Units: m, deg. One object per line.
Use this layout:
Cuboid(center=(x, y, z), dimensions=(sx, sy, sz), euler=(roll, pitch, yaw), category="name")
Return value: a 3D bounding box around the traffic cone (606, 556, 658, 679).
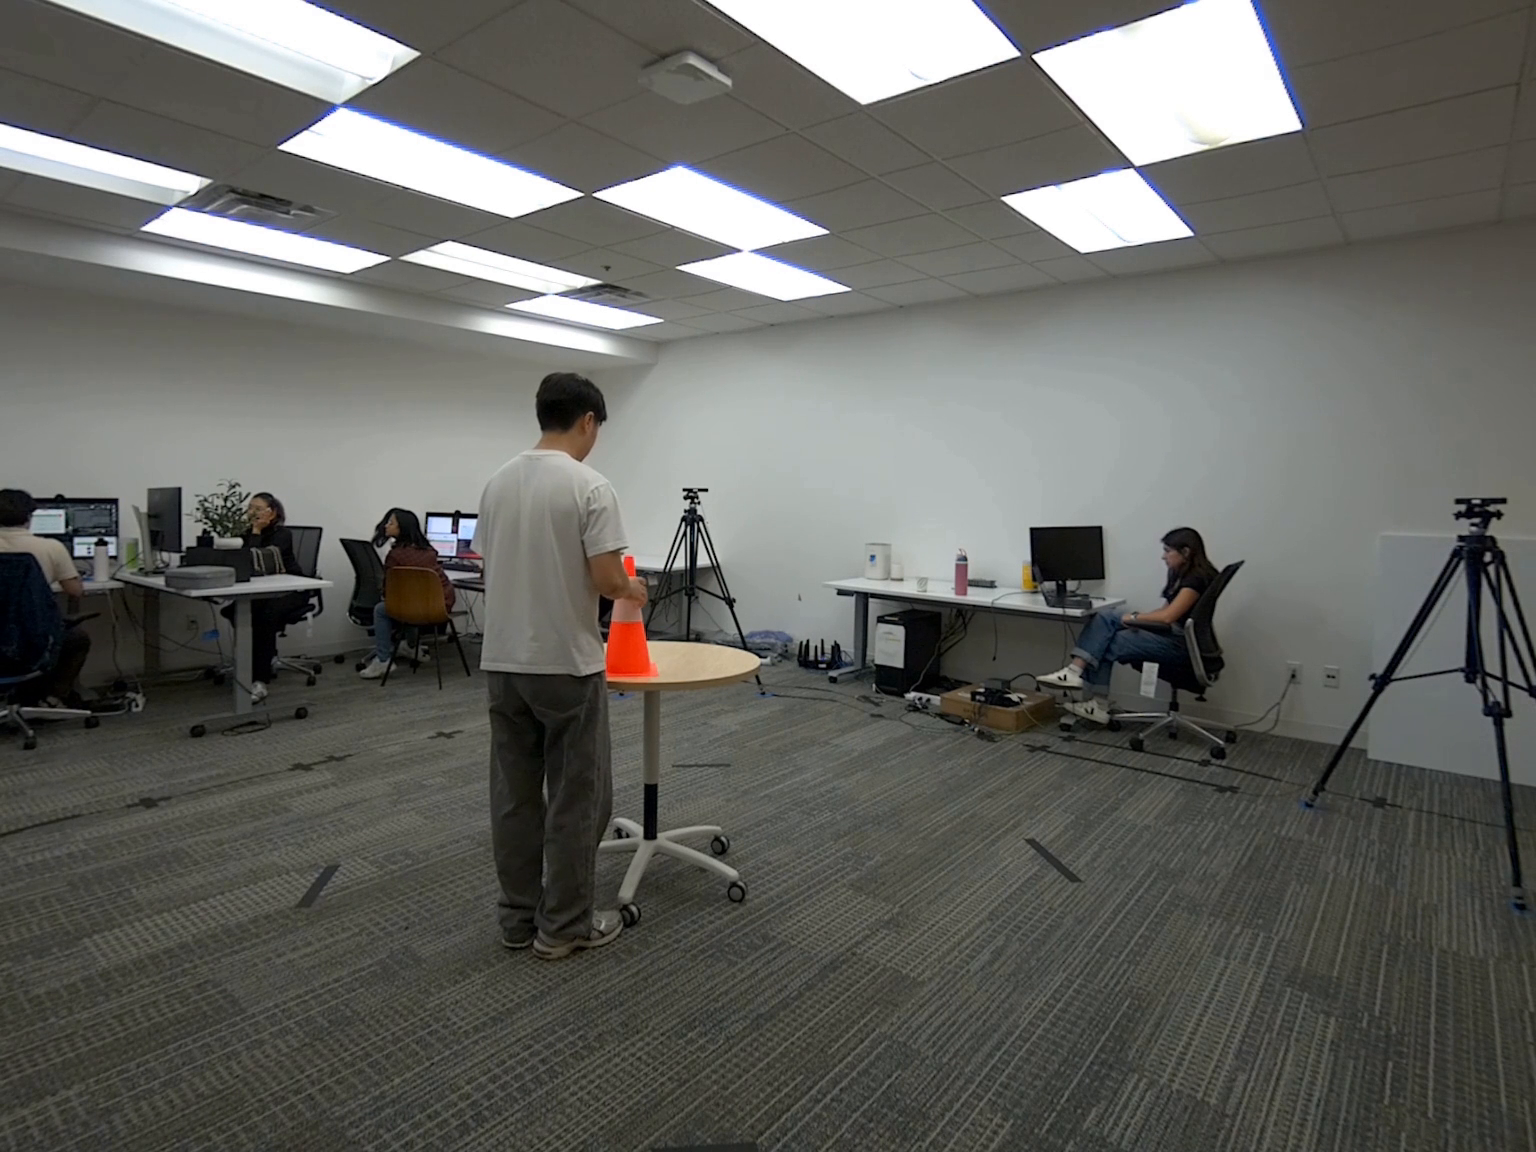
Cuboid(center=(-0.467, 0.118, 2.800), dimensions=(0.203, 0.382, 0.206), euler=(2, 4, -9), category="traffic cone")
